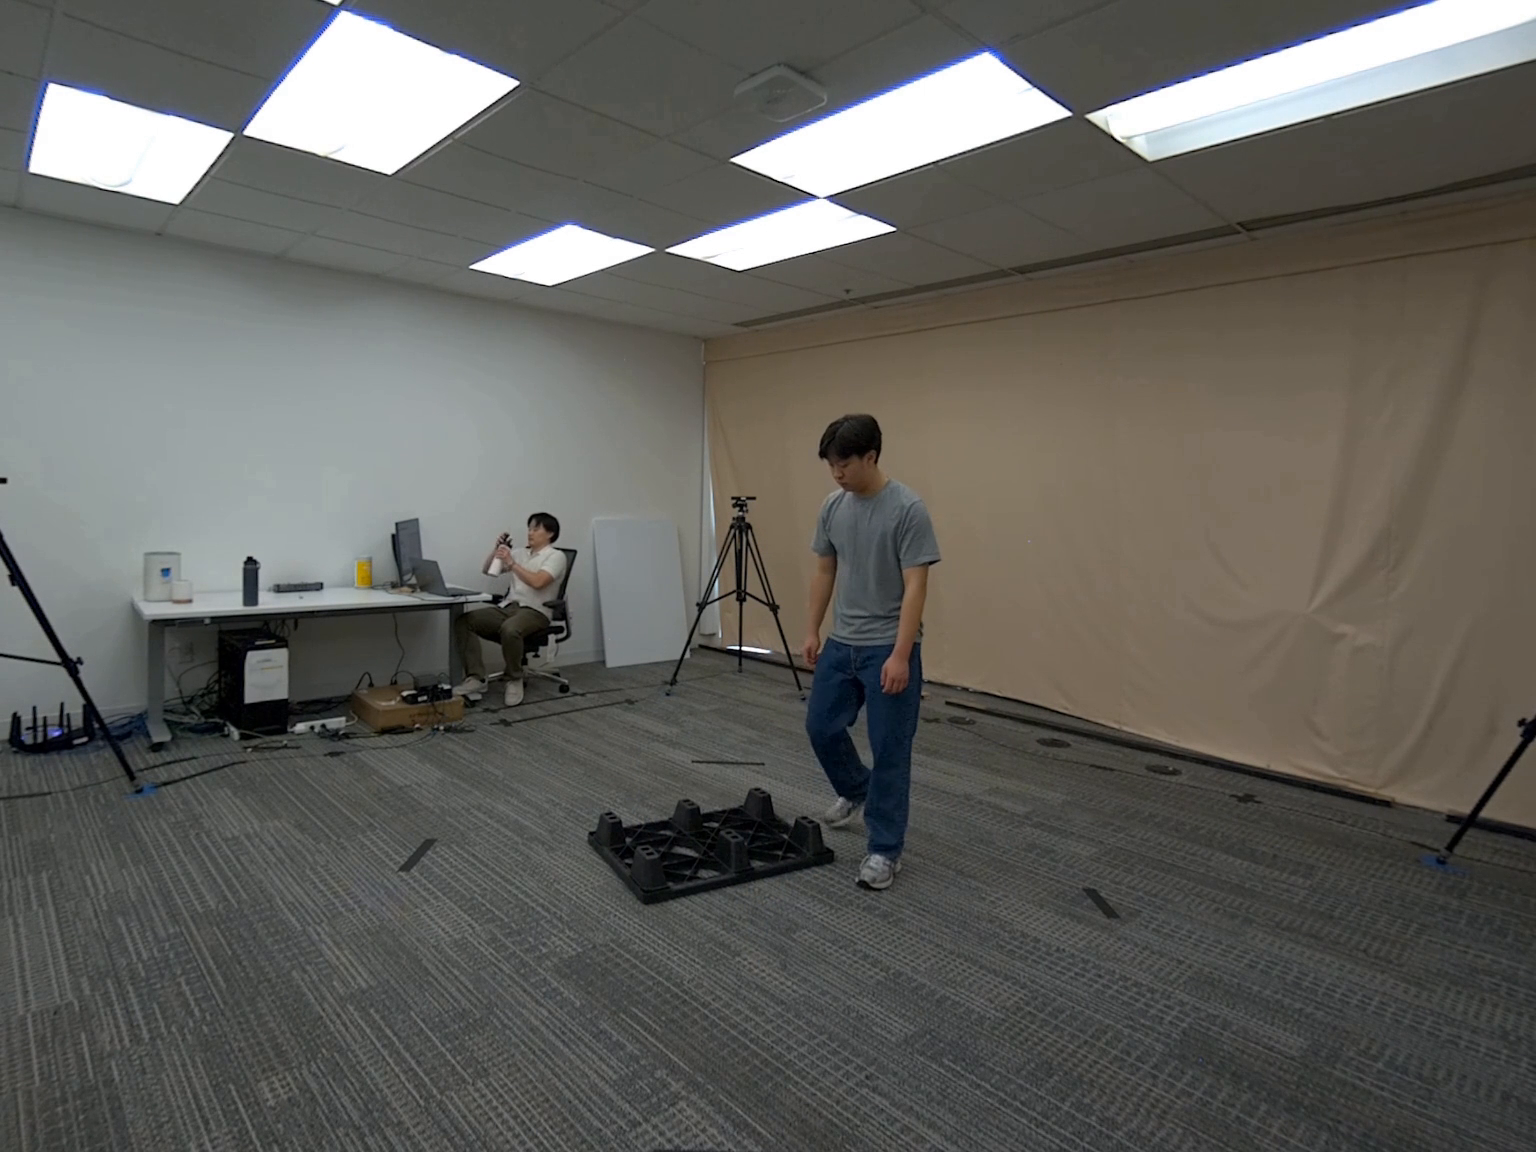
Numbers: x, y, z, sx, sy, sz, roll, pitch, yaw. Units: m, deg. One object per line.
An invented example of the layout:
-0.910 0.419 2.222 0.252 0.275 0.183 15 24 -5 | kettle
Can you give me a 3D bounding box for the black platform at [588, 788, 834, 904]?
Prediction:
-0.241 1.021 3.300 0.789 0.143 0.619 -2 5 -31 | black platform
